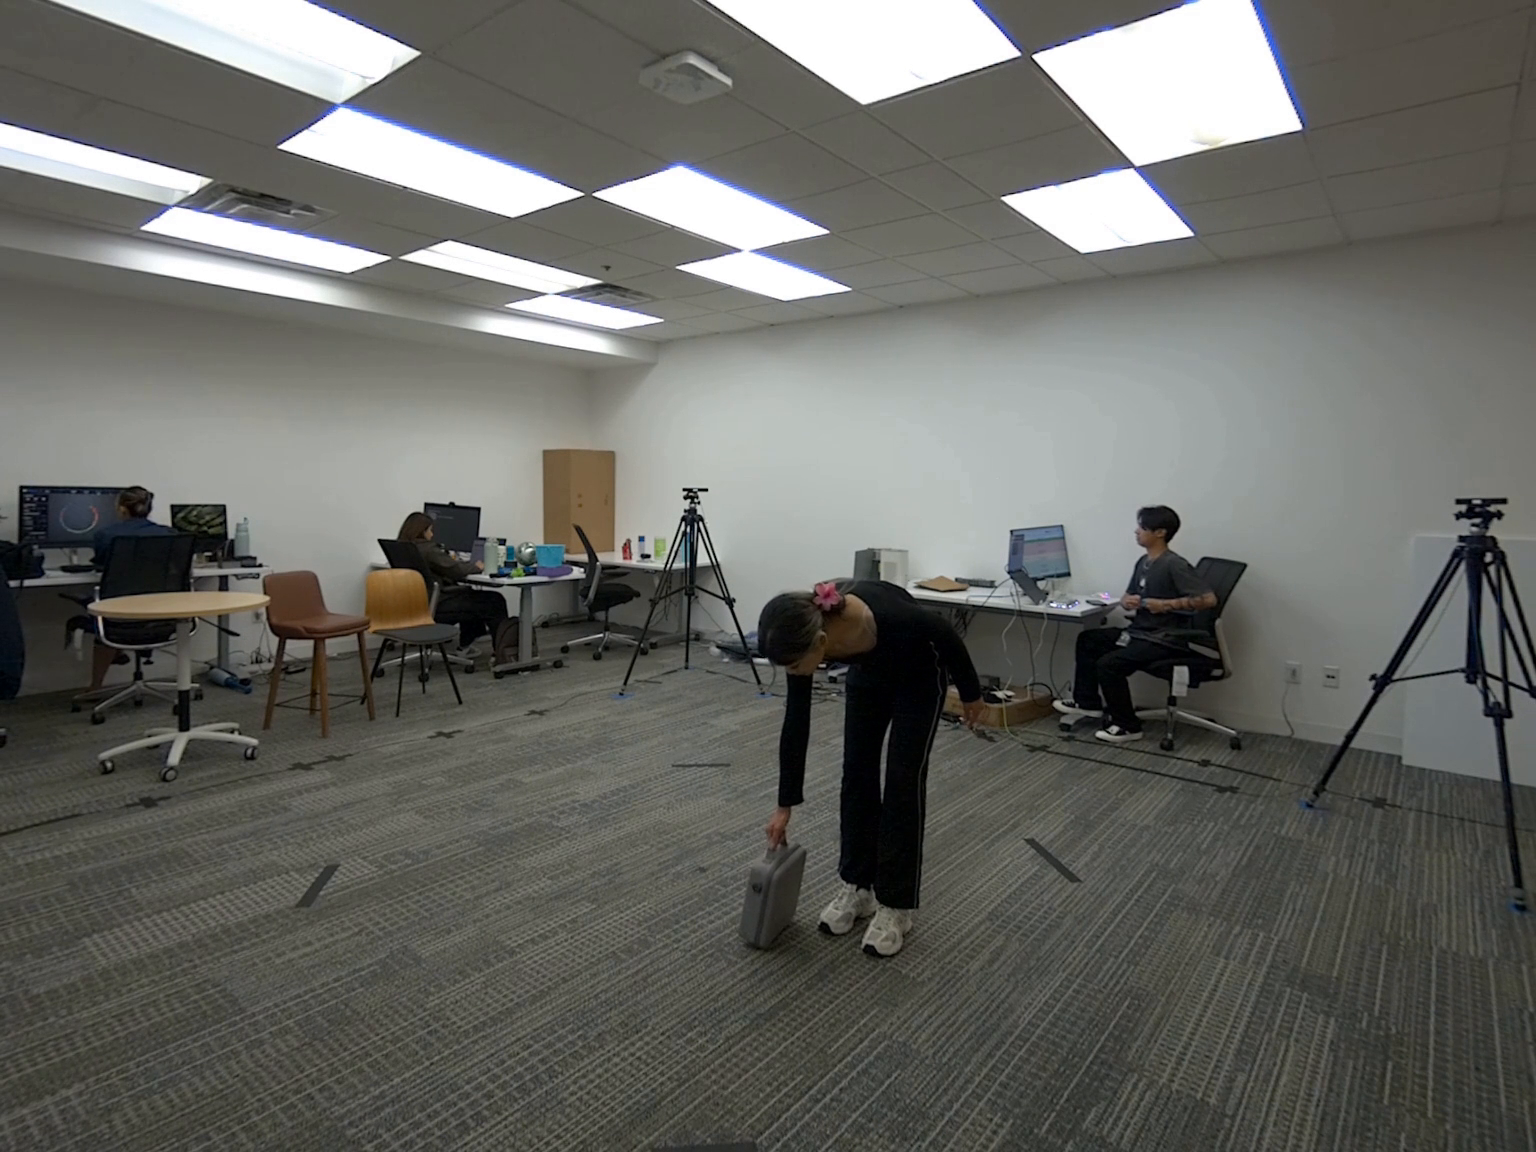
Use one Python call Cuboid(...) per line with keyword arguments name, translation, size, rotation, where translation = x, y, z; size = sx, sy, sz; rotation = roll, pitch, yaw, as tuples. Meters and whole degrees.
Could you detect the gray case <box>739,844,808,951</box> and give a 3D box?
Cuboid(name="gray case", translation=(0.008, 0.972, 2.661), size=(0.107, 0.259, 0.250), rotation=(9, 6, 26))
